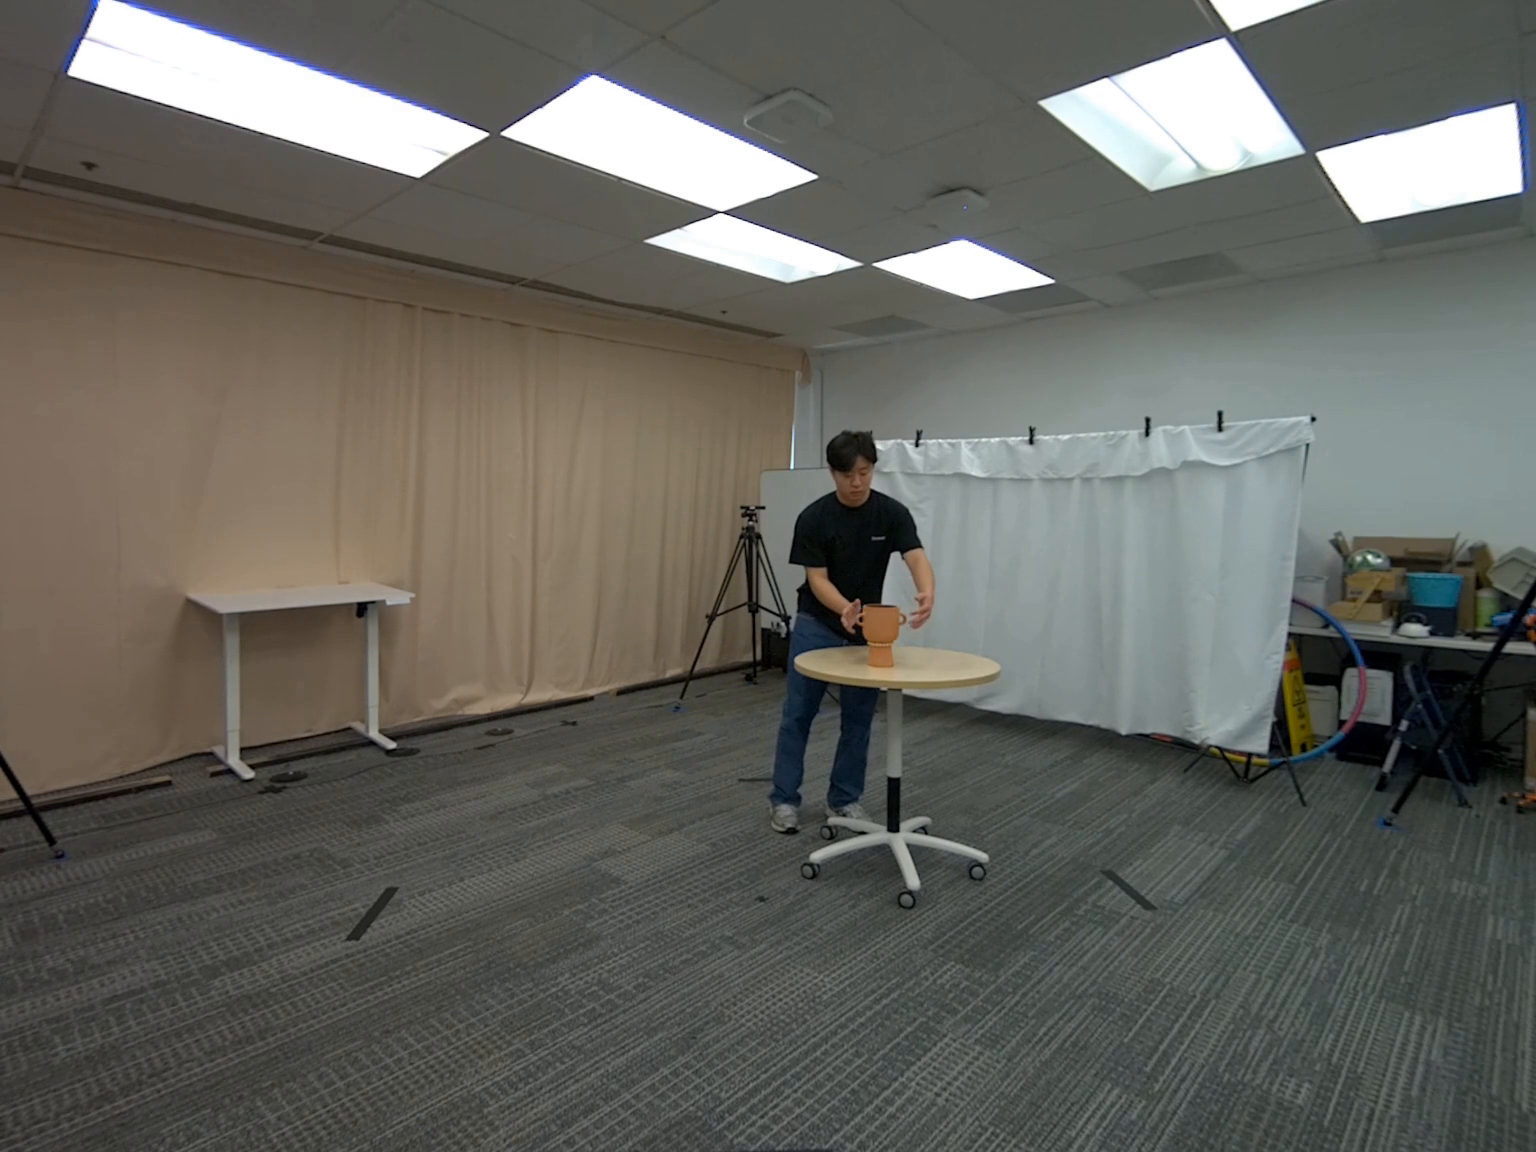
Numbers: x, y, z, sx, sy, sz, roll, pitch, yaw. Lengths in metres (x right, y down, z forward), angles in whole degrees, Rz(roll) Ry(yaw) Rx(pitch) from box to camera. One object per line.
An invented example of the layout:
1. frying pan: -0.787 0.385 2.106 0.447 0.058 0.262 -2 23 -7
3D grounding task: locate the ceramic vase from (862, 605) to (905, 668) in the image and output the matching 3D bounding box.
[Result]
1. ceramic vase: 0.420 0.221 3.143 0.163 0.219 0.131 1 3 27
